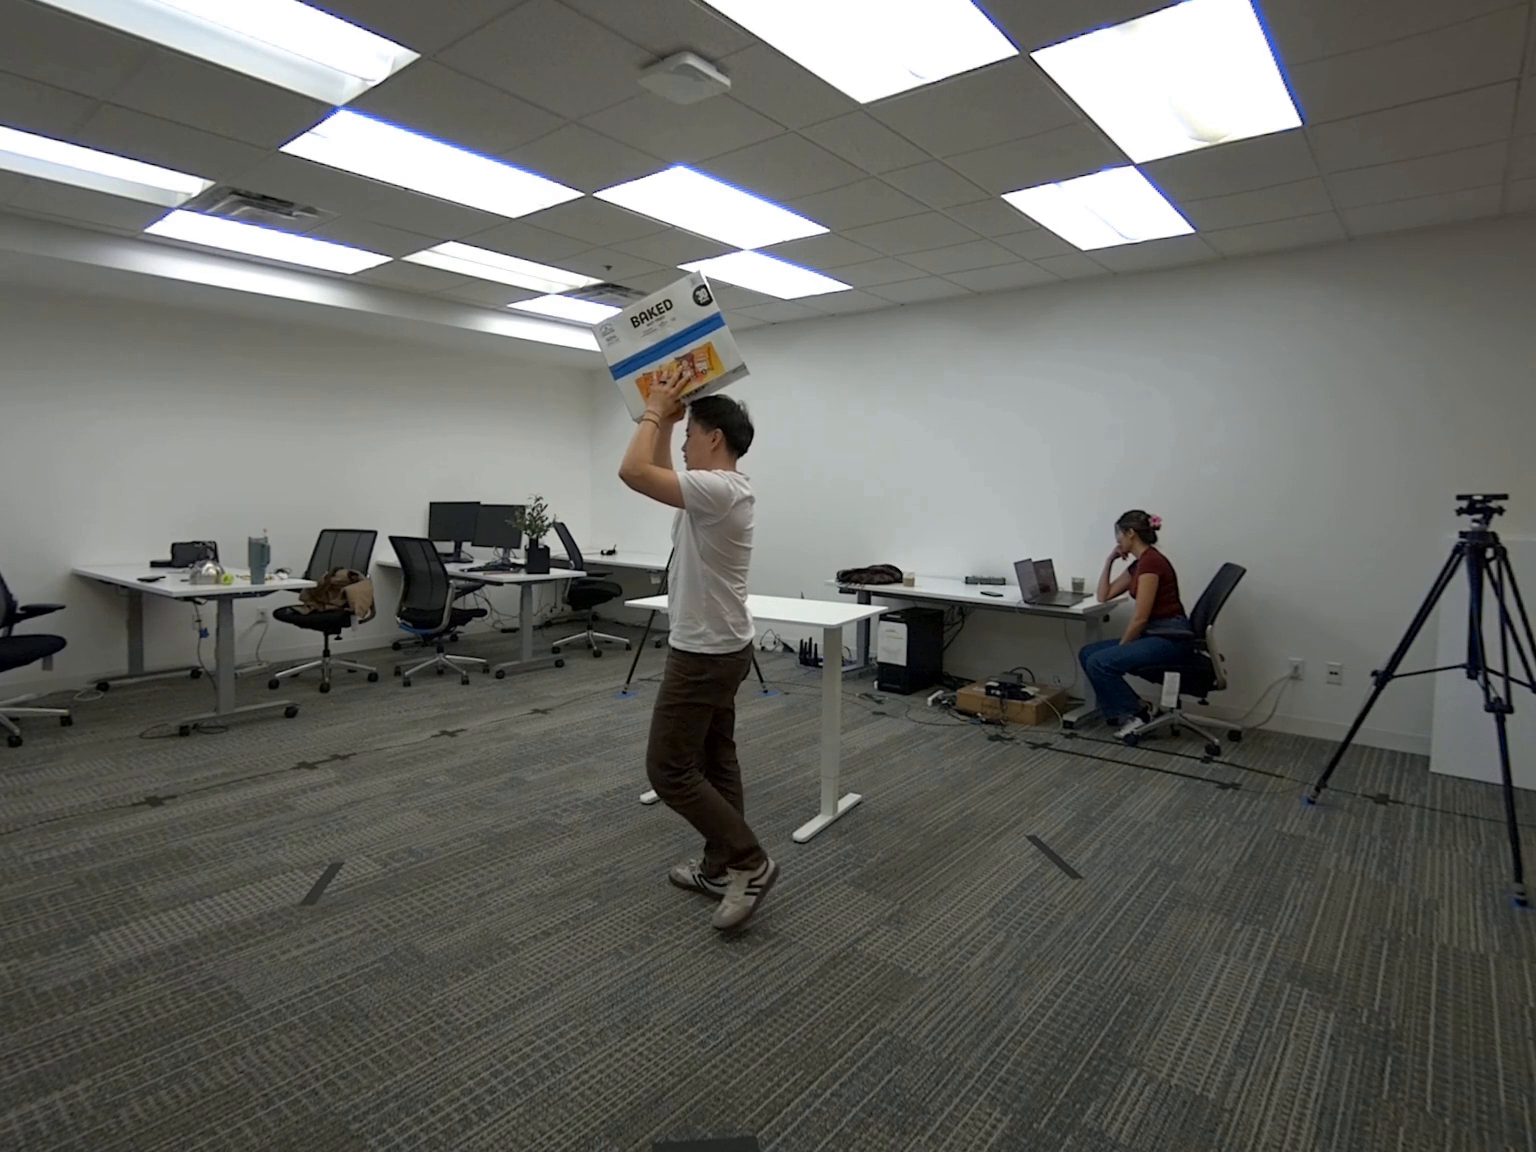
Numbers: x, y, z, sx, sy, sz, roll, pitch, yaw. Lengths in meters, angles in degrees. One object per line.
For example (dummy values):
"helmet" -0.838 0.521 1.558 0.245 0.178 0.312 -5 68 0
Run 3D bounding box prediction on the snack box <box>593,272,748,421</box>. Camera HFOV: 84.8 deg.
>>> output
"snack box" -0.330 -0.745 2.815 0.406 0.342 0.204 -26 -2 6
